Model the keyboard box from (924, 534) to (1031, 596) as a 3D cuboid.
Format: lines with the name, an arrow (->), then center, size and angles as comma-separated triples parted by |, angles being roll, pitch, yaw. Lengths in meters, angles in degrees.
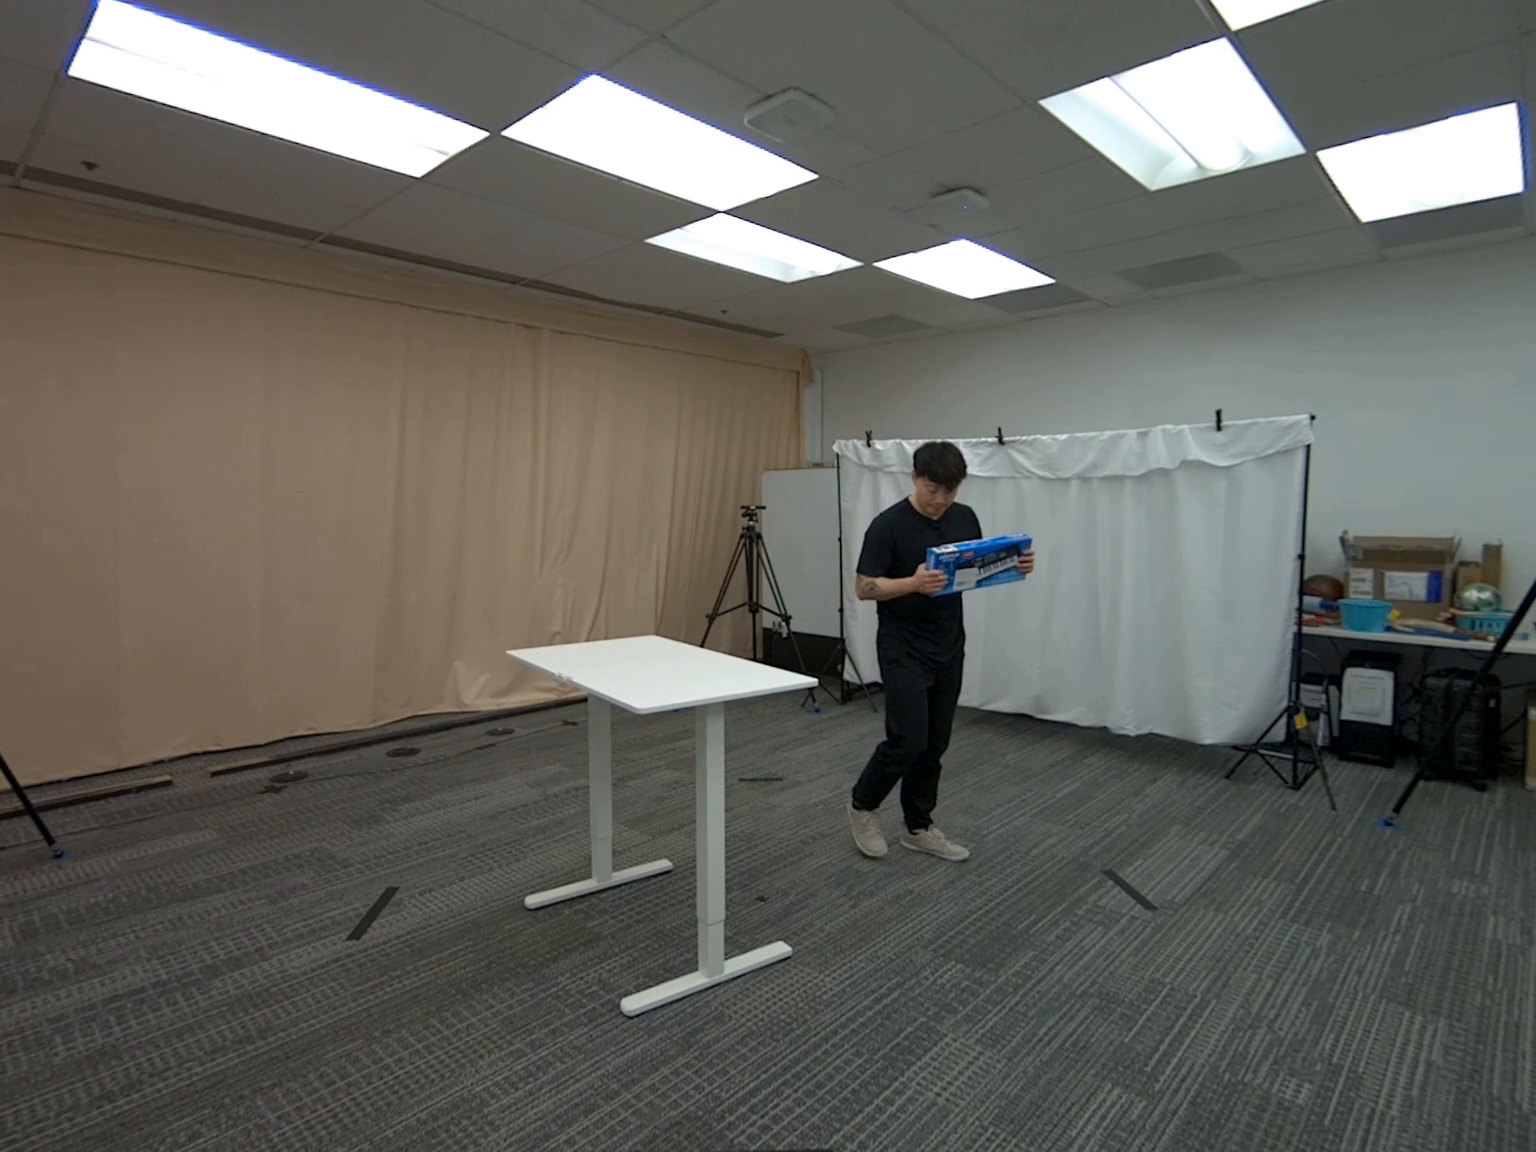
keyboard box -> 0.780, -0.039, 3.127 | 0.428, 0.174, 0.061 | -10, 24, -22
